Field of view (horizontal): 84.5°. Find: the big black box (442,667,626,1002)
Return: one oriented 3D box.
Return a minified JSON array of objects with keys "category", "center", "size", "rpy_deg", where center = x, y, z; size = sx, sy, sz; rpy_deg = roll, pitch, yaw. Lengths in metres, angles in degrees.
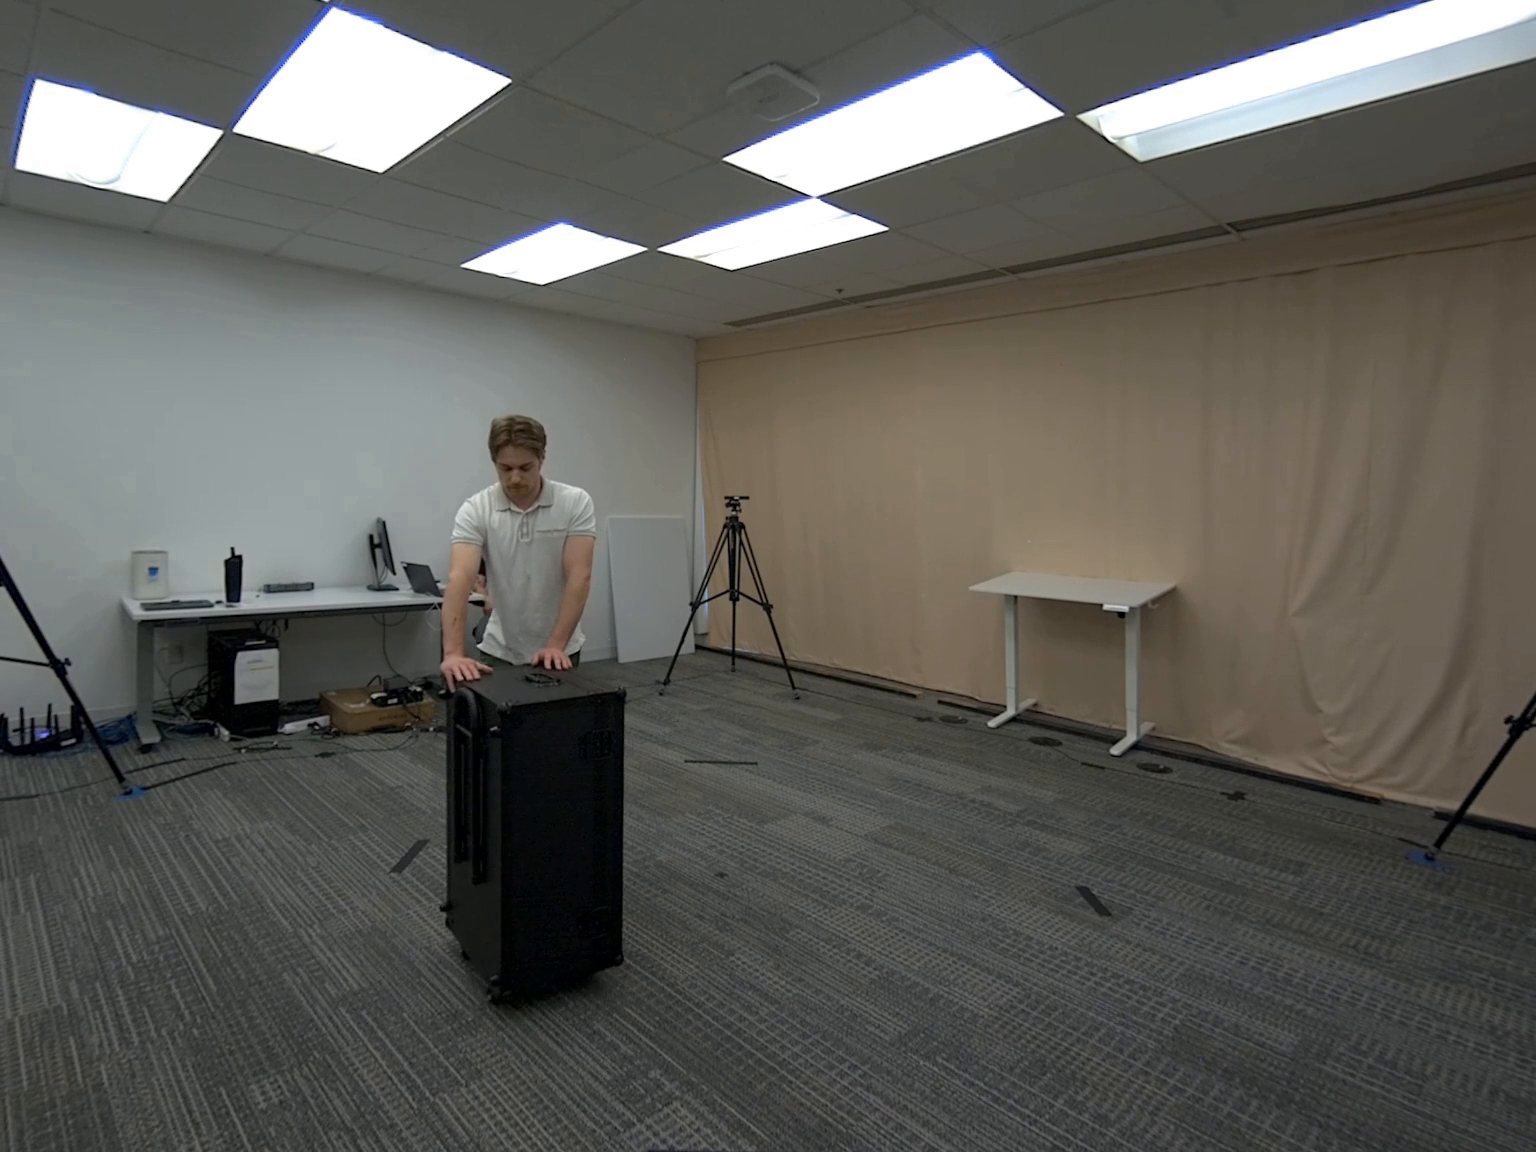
[{"category":"big black box","center":[-0.688,0.733,2.433],"size":[0.377,0.867,0.536],"rpy_deg":[-1,4,-37]}]
